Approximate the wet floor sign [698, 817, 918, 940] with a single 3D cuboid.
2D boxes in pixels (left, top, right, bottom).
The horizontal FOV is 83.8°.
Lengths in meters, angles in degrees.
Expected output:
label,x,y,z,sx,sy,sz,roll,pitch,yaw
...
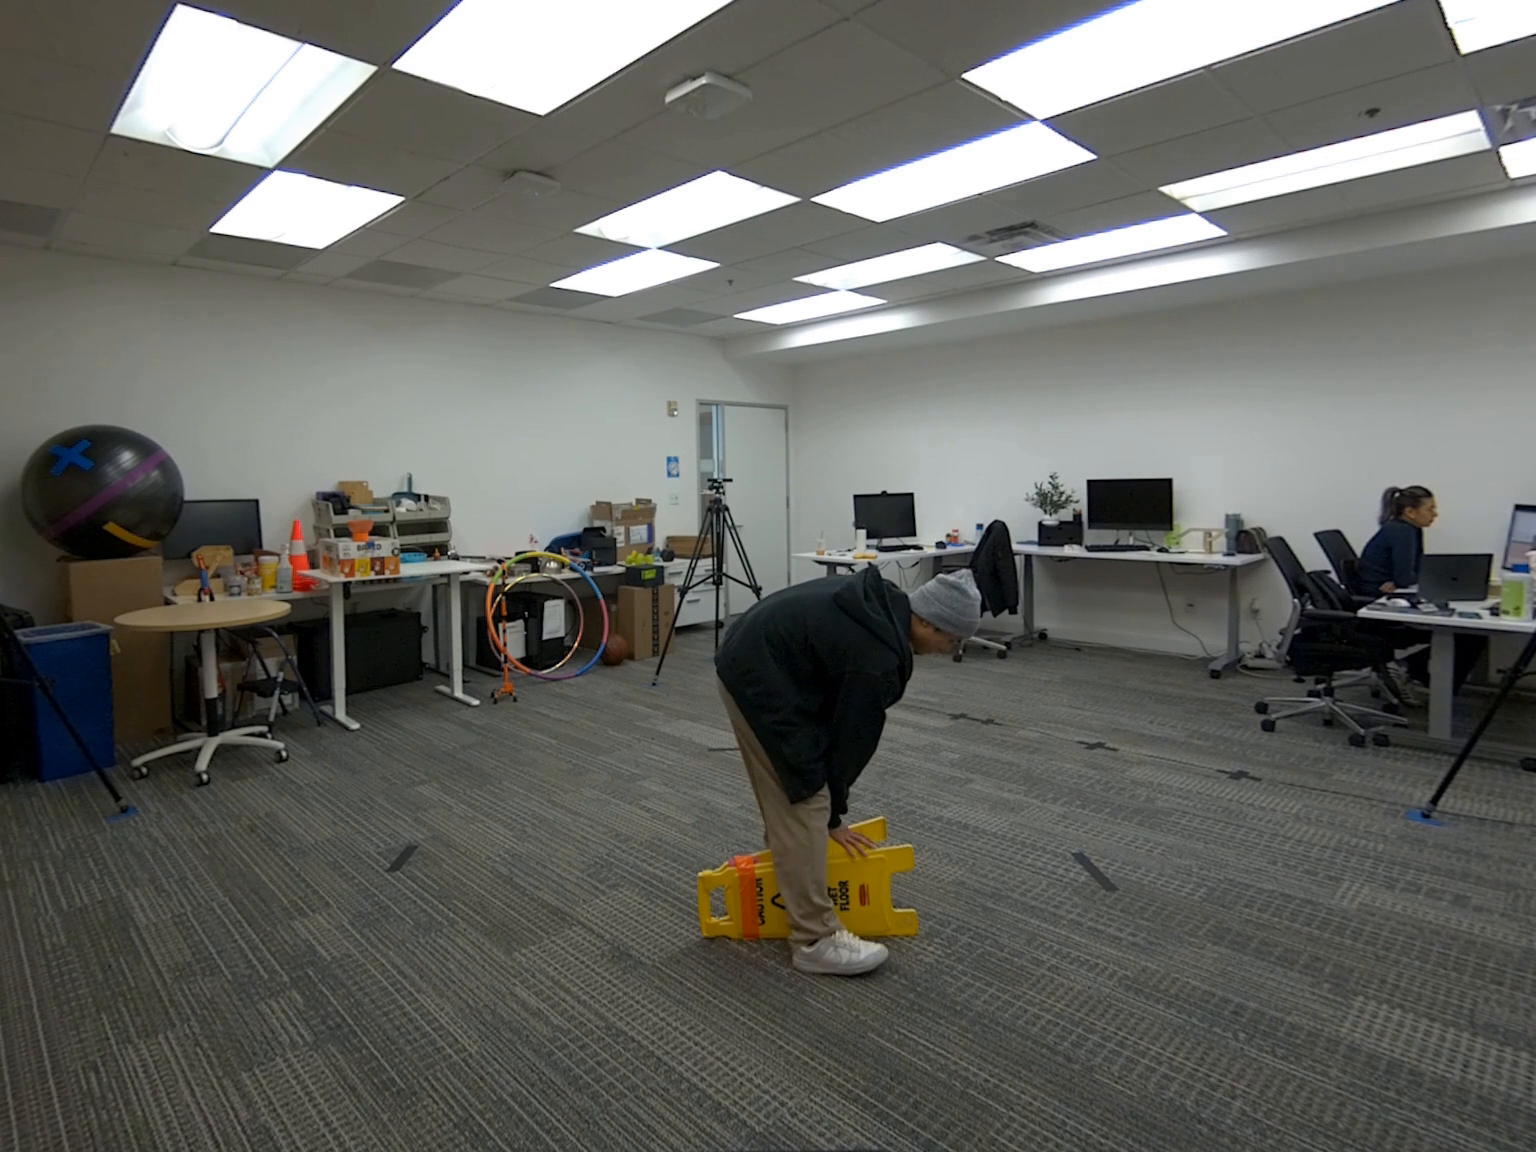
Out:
label,x,y,z,sx,sy,sz,roll,pitch,yaw
wet floor sign,0.112,0.971,2.644,0.640,0.281,0.294,-5,5,-11
